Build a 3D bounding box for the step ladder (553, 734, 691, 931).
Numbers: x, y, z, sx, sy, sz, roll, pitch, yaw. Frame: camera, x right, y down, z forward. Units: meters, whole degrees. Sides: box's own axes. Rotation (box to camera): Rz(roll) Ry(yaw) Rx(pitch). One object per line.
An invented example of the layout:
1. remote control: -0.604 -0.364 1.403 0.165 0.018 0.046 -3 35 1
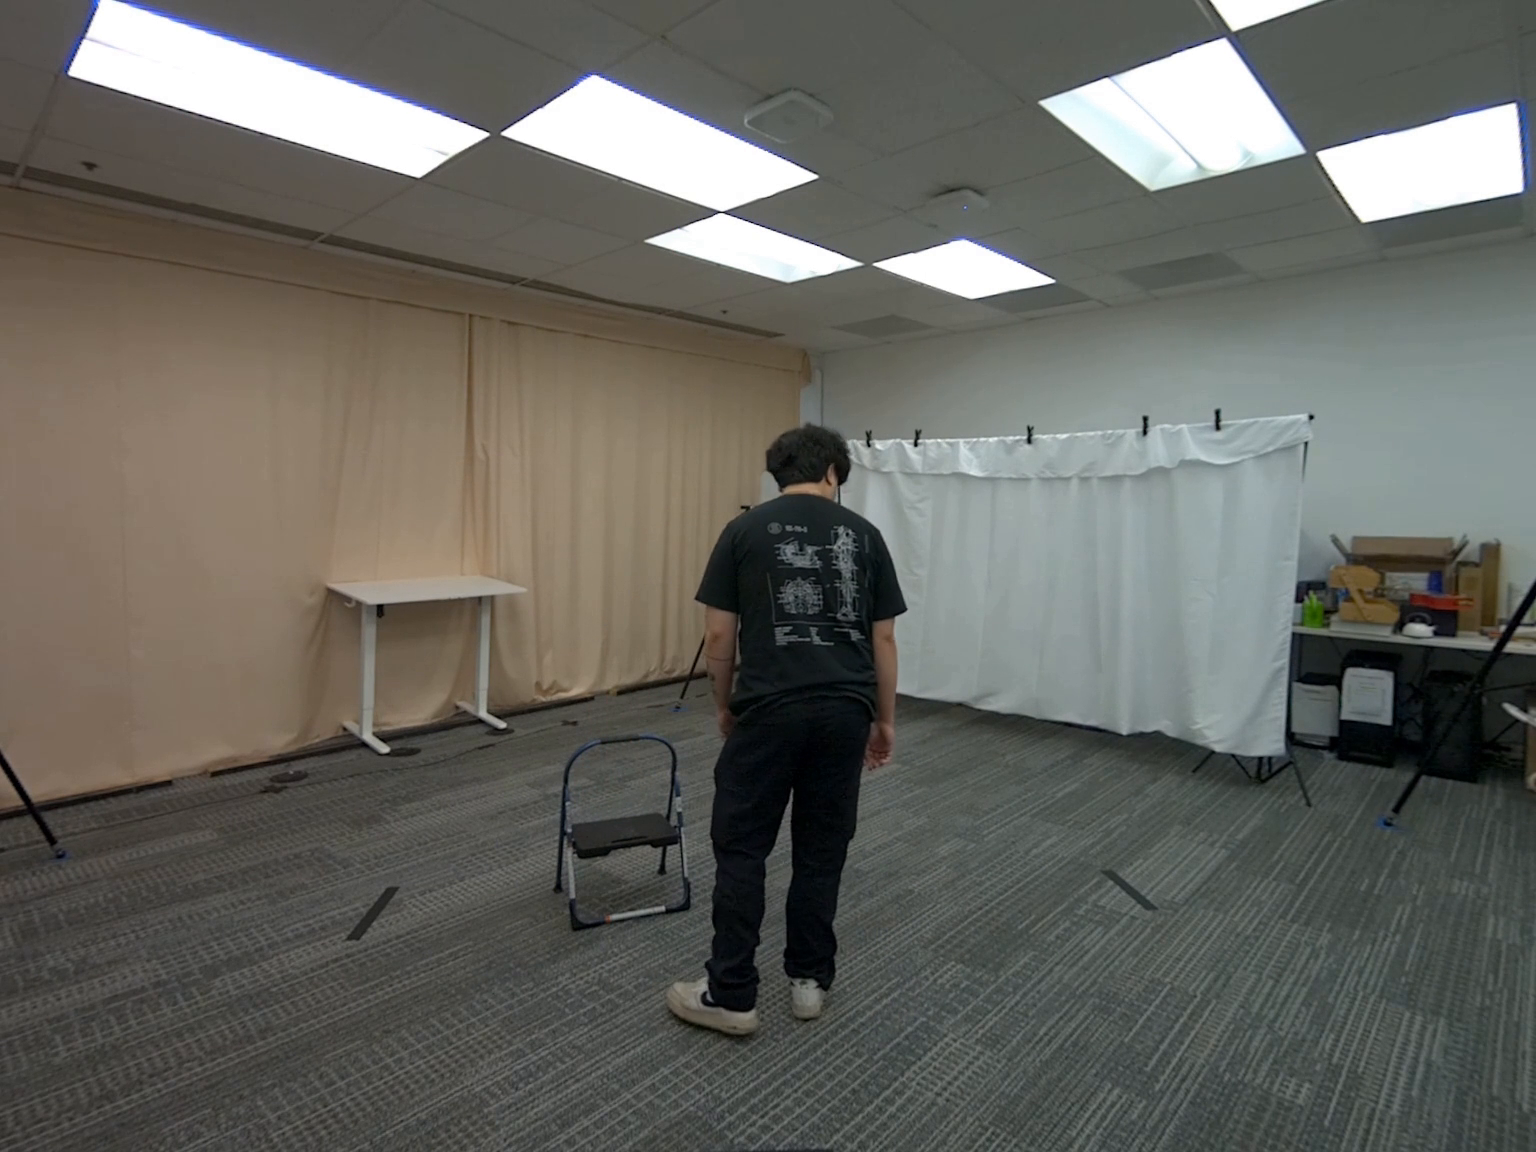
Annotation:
1. step ladder: -0.522 0.845 2.974 0.421 0.605 0.358 -2 4 -23
